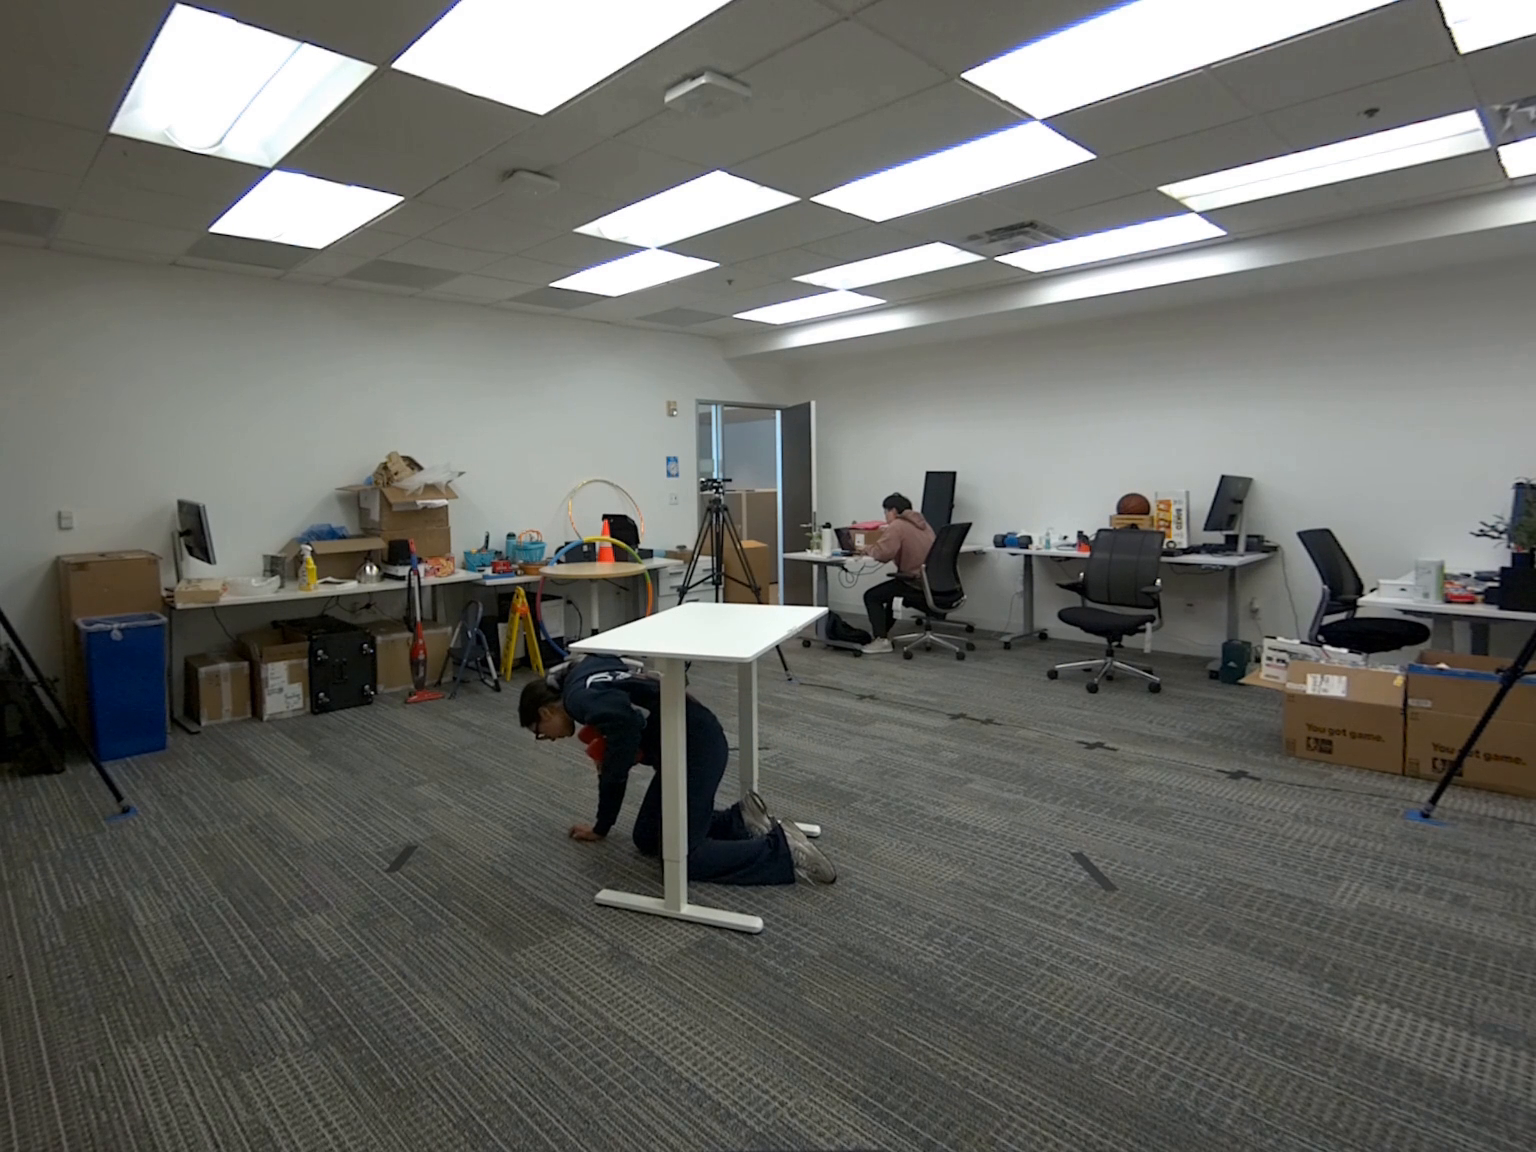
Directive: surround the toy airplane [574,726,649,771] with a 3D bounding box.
[{"bbox_3d":[-0.550,0.554,3.000,0.245,0.256,0.162,0,44,-29],"label":"toy airplane"}]
